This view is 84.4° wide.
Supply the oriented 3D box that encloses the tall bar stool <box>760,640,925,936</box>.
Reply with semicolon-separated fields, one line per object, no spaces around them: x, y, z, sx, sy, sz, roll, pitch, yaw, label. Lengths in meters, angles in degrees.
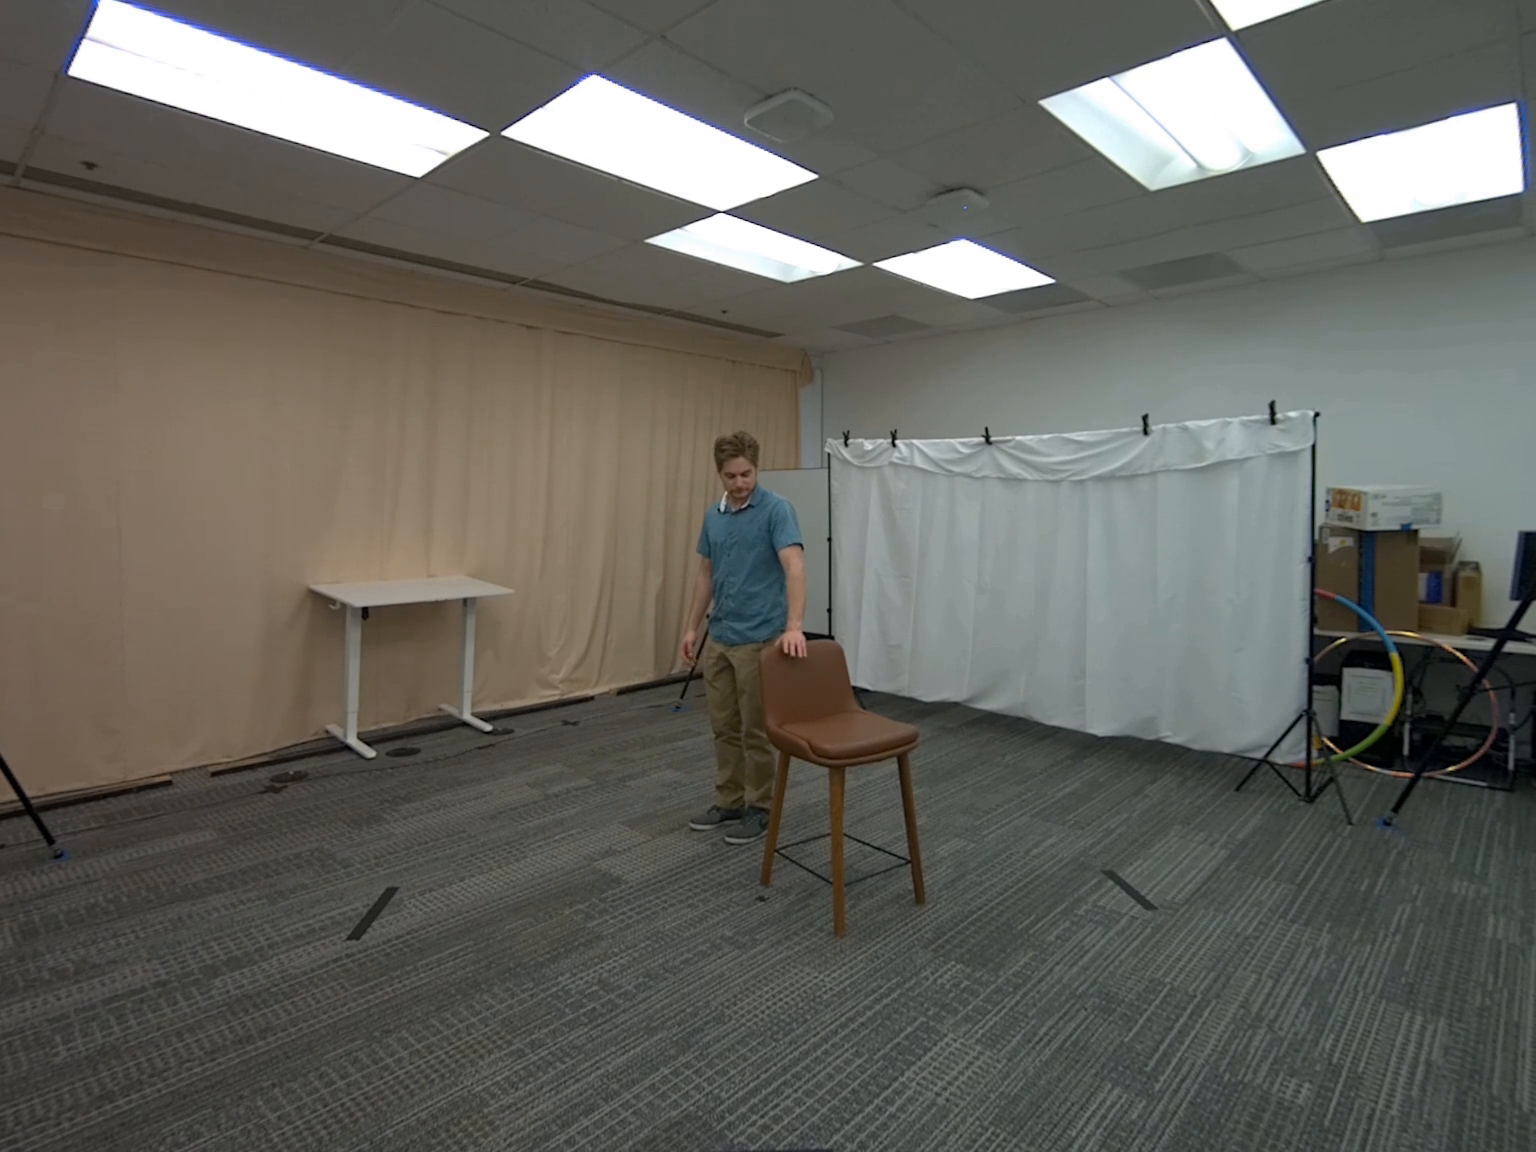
0.254;0.704;2.999;0.443;0.889;0.482;-2;2;-36;tall bar stool
